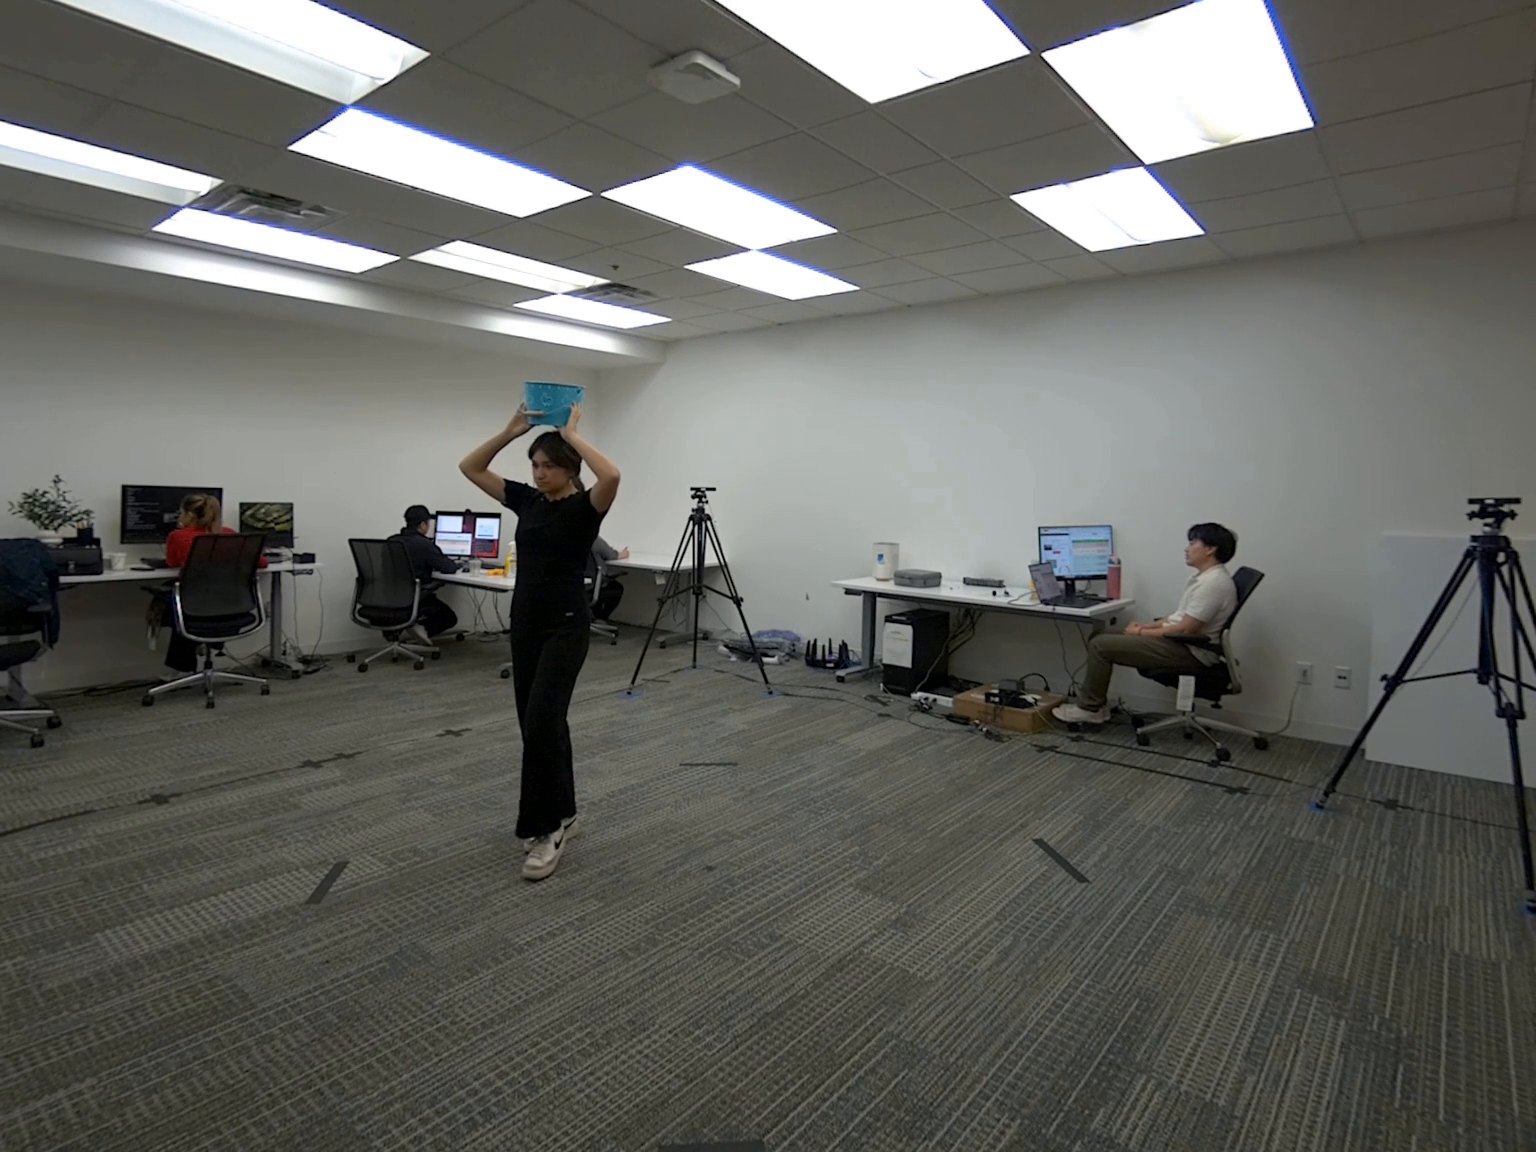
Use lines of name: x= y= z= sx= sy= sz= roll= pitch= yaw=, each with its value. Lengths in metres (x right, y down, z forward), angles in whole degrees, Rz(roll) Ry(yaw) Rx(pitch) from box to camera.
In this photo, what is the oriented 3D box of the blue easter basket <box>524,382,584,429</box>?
blue easter basket: x=-0.833 y=-0.639 z=3.168 sx=0.243 sy=0.155 sz=0.245 roll=4 pitch=6 yaw=-2
